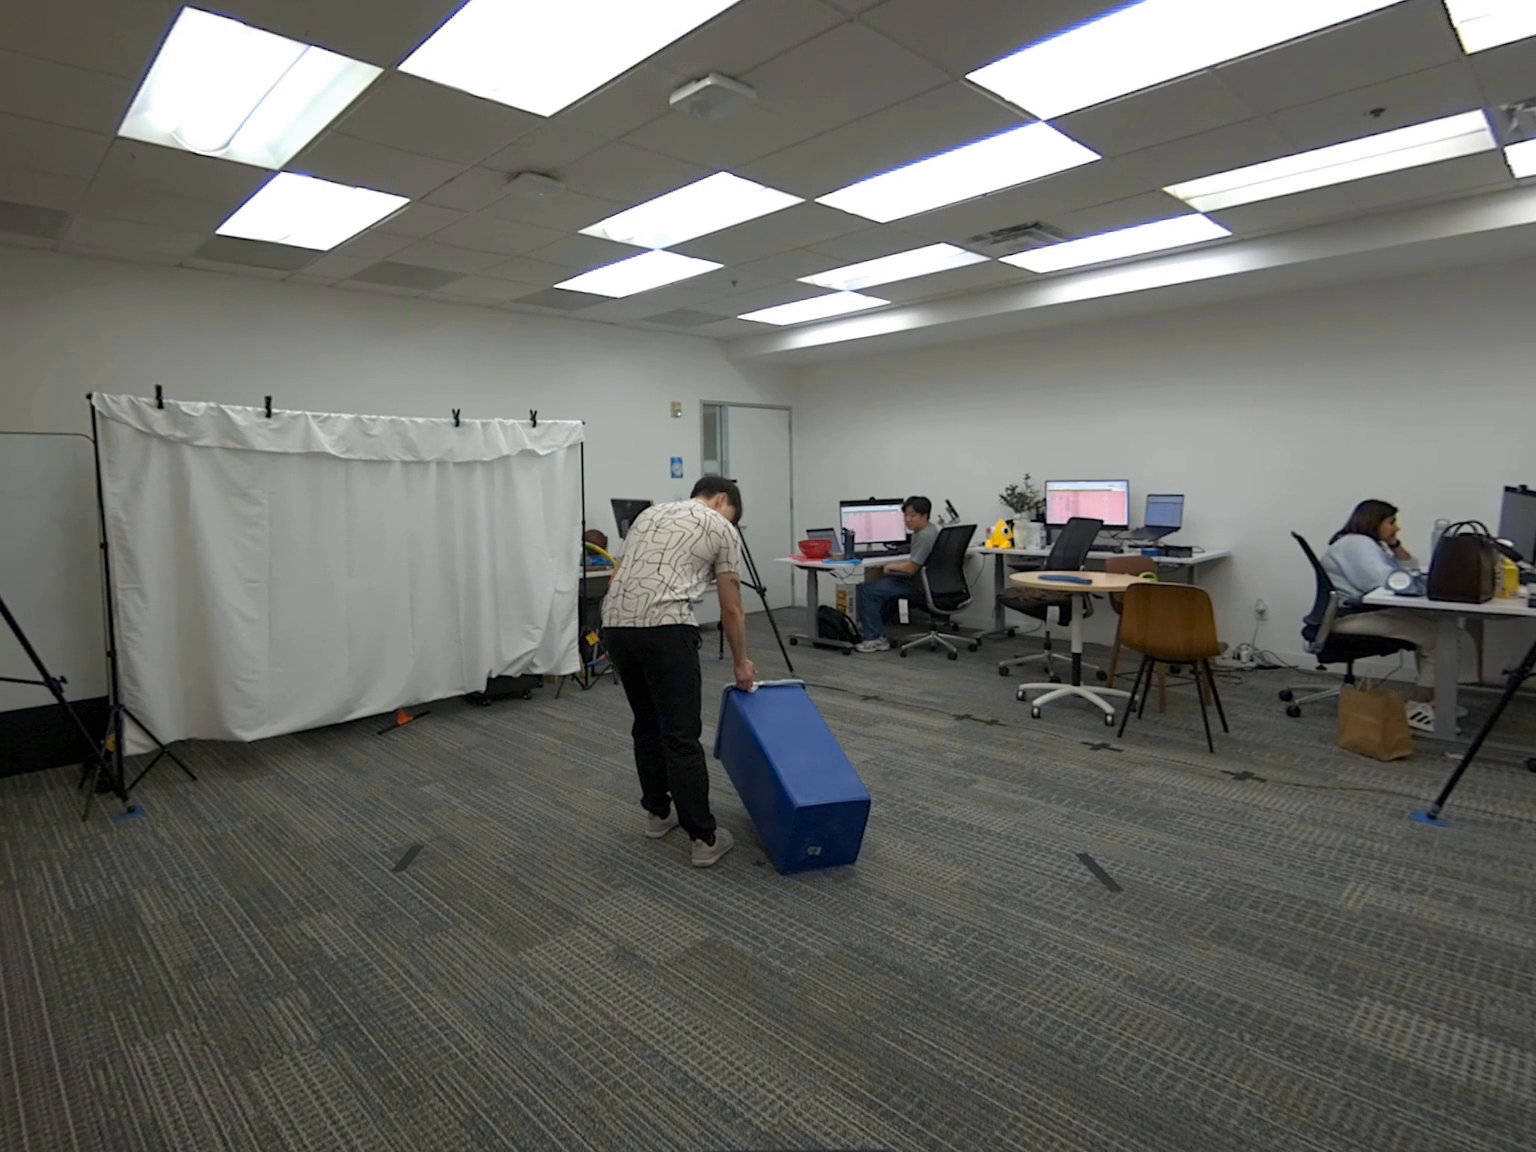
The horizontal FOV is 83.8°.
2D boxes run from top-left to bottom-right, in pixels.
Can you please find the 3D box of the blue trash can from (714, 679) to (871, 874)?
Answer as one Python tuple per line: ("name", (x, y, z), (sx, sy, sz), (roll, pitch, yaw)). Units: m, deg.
("blue trash can", (0.078, 0.757, 3.307), (0.371, 0.368, 0.738), (0, 25, -21))
